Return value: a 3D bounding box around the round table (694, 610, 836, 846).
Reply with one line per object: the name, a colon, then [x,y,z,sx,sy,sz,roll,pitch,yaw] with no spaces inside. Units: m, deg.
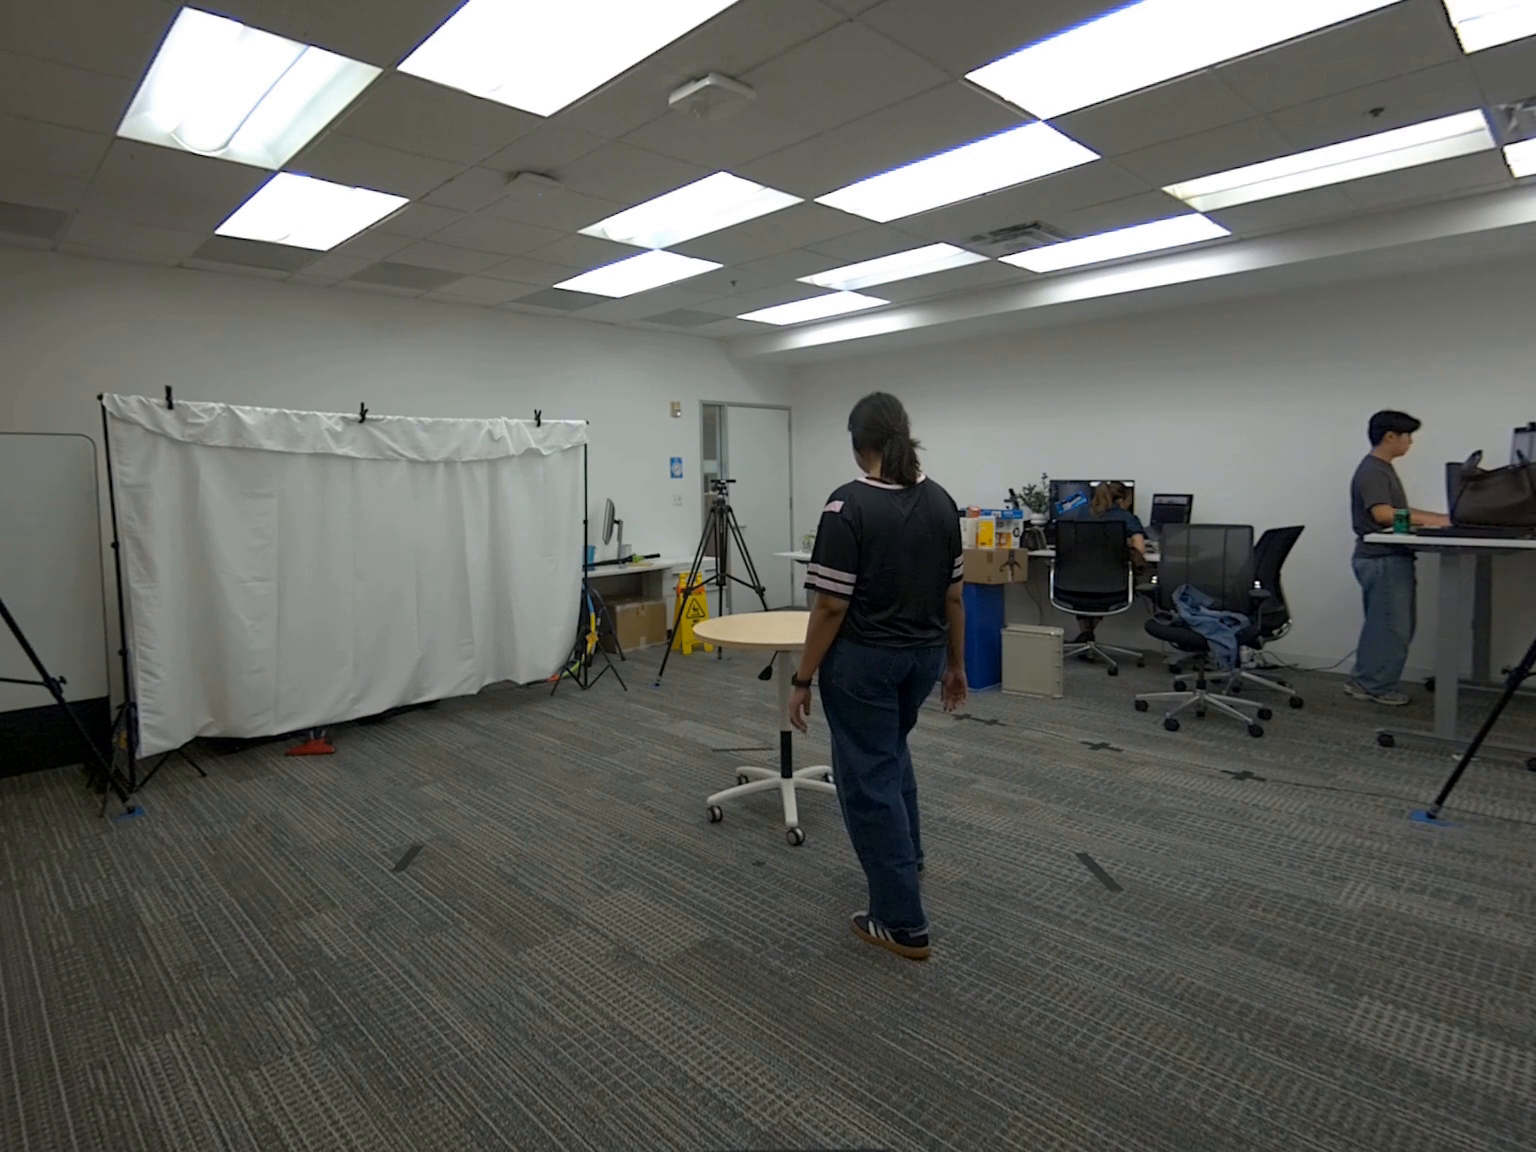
round table: [0.081,0.601,3.588,0.763,0.791,0.768,-2,5,-2]
